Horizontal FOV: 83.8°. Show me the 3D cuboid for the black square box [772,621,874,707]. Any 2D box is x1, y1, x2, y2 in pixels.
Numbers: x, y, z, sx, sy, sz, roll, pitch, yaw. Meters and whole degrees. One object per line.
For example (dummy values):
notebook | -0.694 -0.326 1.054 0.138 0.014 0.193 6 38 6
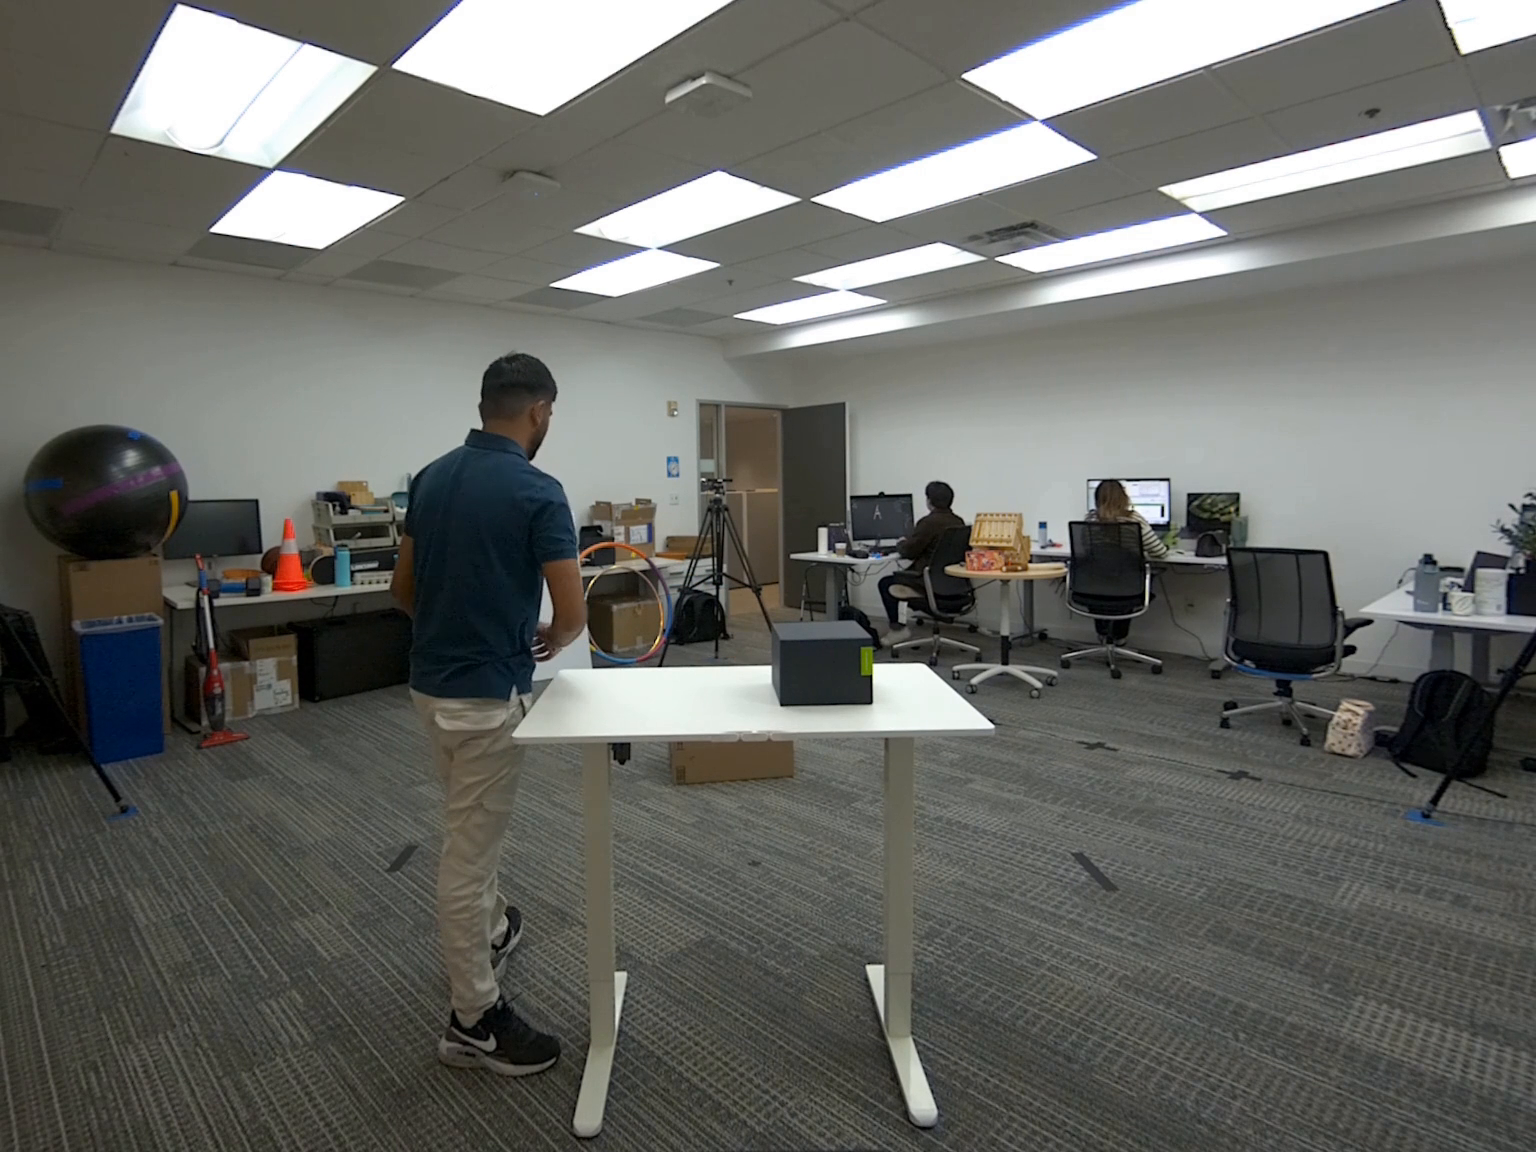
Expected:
black square box | 0.117 0.203 2.048 0.216 0.155 0.230 -1 6 -4
